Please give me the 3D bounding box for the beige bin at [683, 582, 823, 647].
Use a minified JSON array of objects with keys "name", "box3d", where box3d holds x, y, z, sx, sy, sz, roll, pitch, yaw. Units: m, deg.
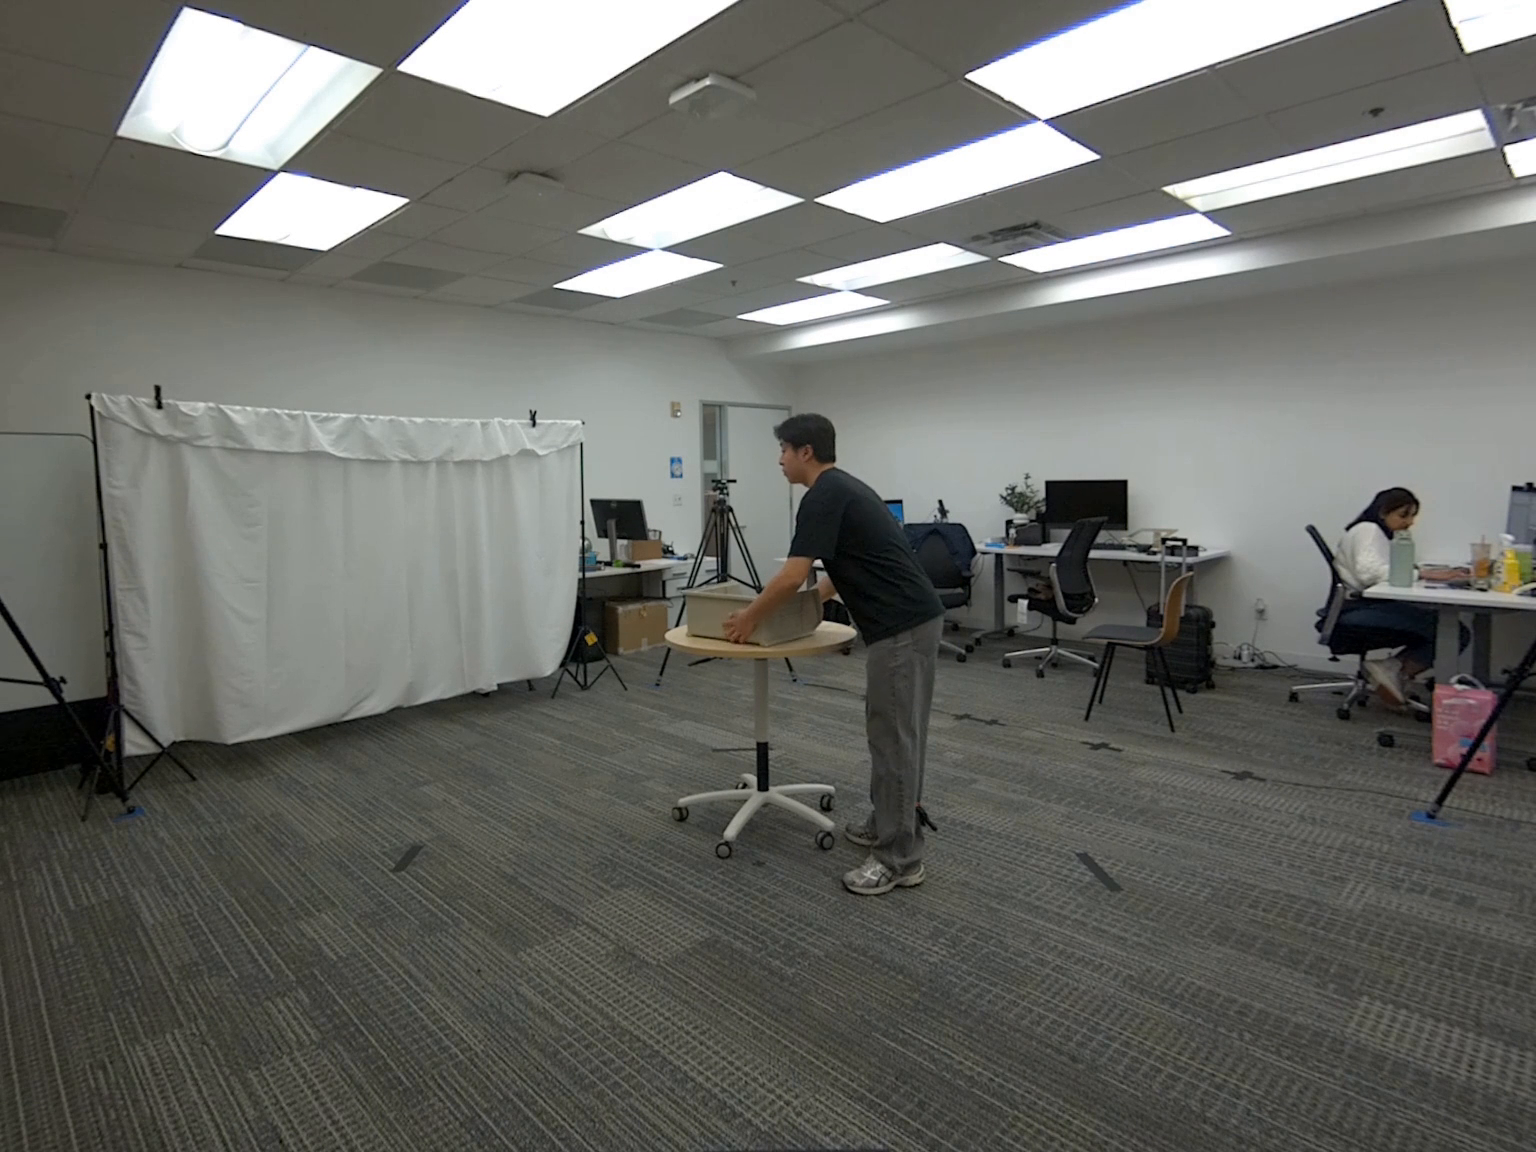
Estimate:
[{"name":"beige bin","box3d":[-0.065,0.129,3.381,0.435,0.188,0.368,3,9,39]}]
